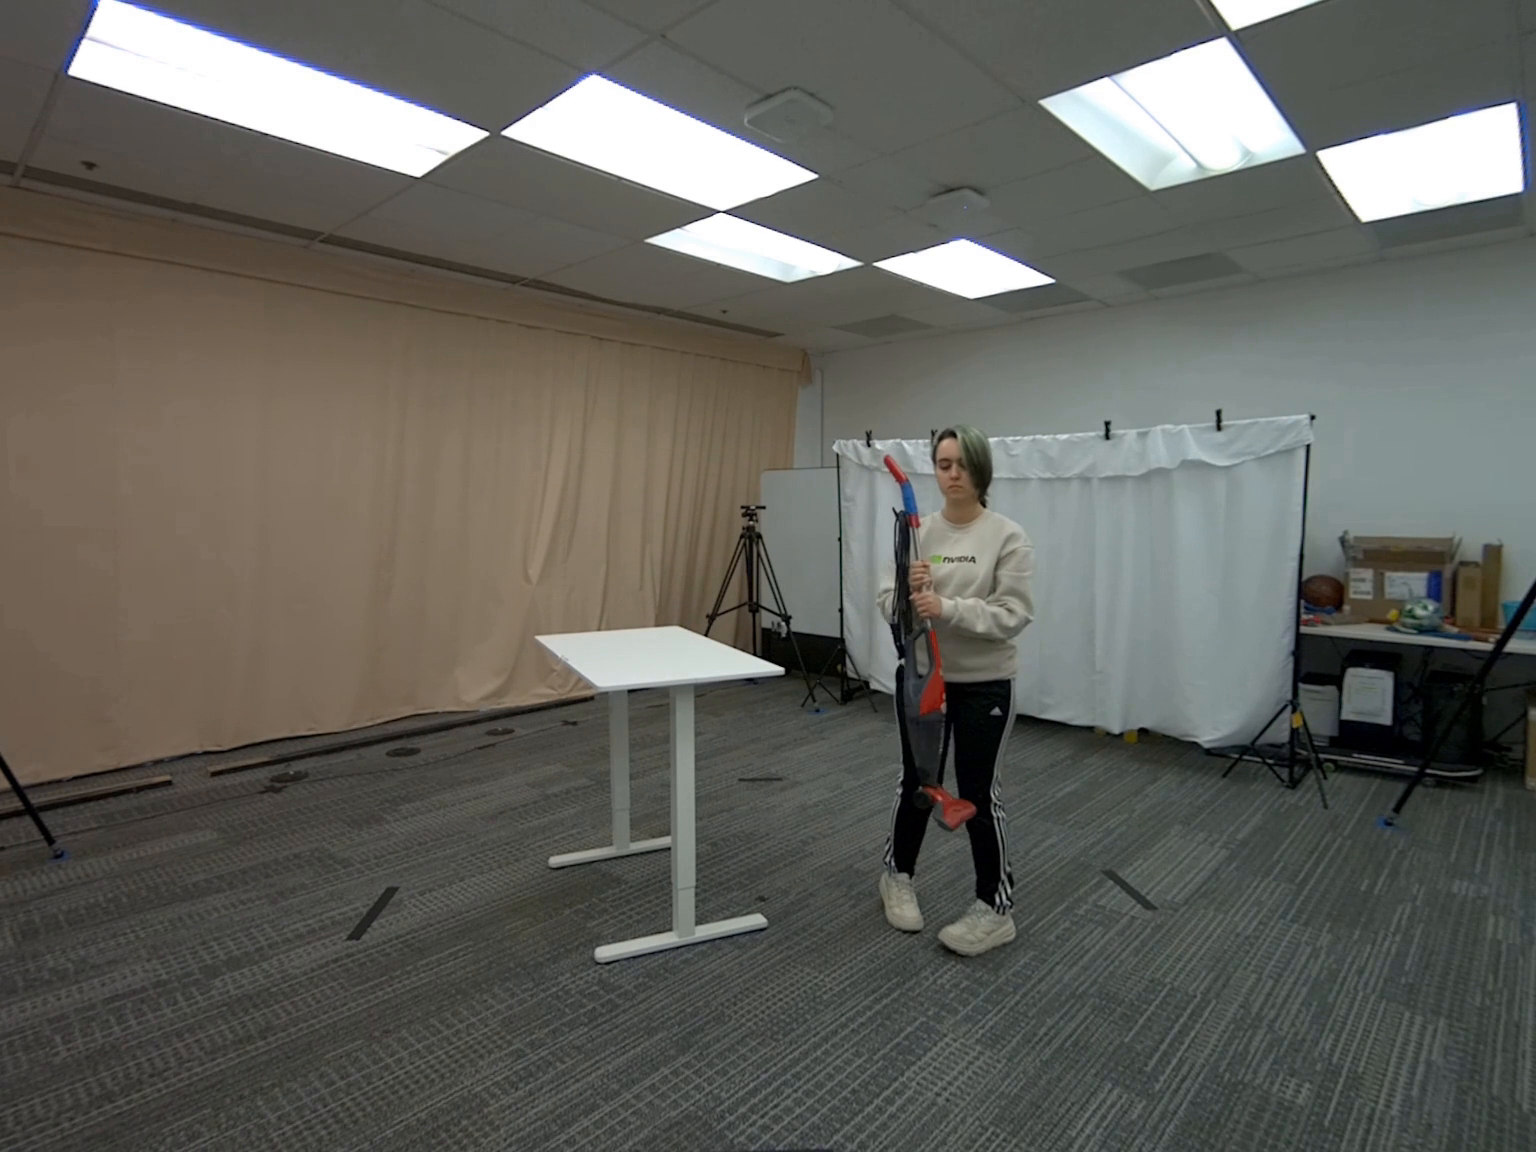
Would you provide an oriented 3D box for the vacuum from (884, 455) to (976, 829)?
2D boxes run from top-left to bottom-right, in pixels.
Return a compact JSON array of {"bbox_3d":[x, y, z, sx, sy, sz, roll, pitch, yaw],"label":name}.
[{"bbox_3d":[0.445,0.156,2.516,0.146,1.054,0.247,-11,-6,16],"label":"vacuum"}]
